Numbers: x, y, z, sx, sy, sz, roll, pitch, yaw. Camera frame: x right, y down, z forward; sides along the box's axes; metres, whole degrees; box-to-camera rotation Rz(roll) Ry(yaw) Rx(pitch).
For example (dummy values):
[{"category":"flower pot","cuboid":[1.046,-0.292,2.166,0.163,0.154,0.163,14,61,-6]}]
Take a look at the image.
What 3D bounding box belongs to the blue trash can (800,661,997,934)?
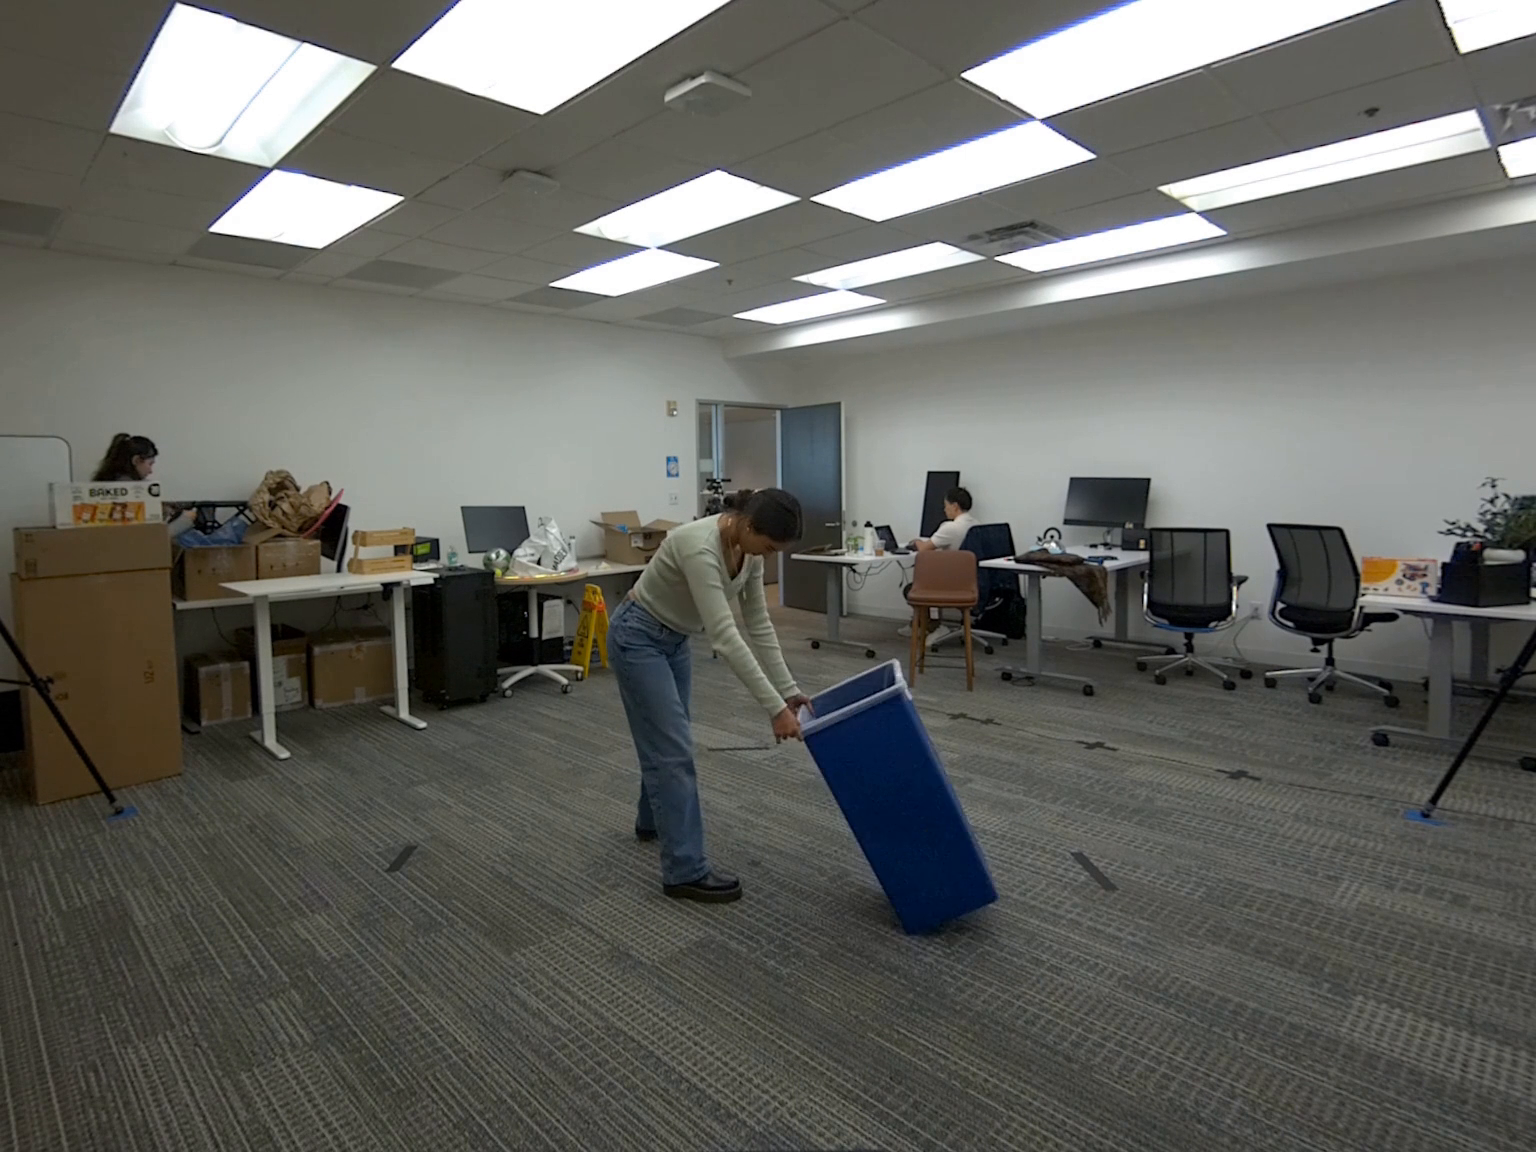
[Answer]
[{"category":"blue trash can","cuboid":[0.389,0.697,2.719,0.375,0.714,0.377,-26,0,7]}]
